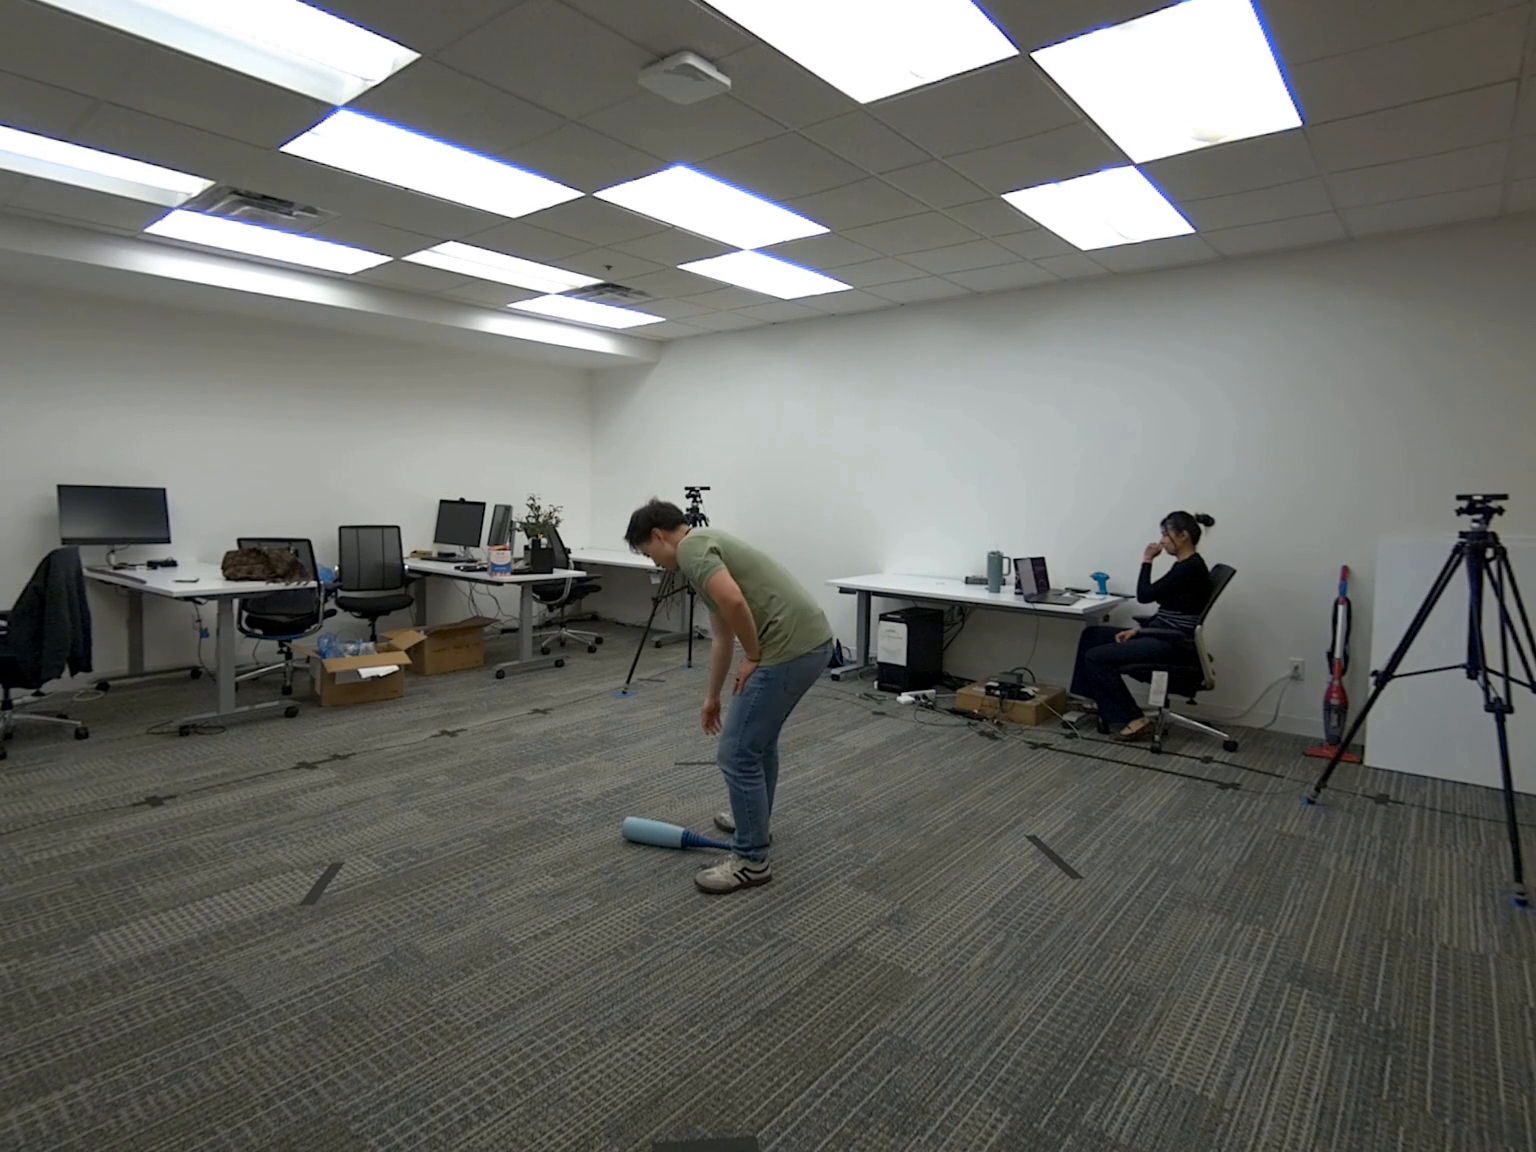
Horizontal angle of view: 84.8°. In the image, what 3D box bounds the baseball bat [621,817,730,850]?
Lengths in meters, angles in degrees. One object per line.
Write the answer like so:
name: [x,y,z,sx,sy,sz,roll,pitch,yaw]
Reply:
baseball bat: [-0.316,1.010,3.269,0.553,0.089,0.088,5,5,16]
